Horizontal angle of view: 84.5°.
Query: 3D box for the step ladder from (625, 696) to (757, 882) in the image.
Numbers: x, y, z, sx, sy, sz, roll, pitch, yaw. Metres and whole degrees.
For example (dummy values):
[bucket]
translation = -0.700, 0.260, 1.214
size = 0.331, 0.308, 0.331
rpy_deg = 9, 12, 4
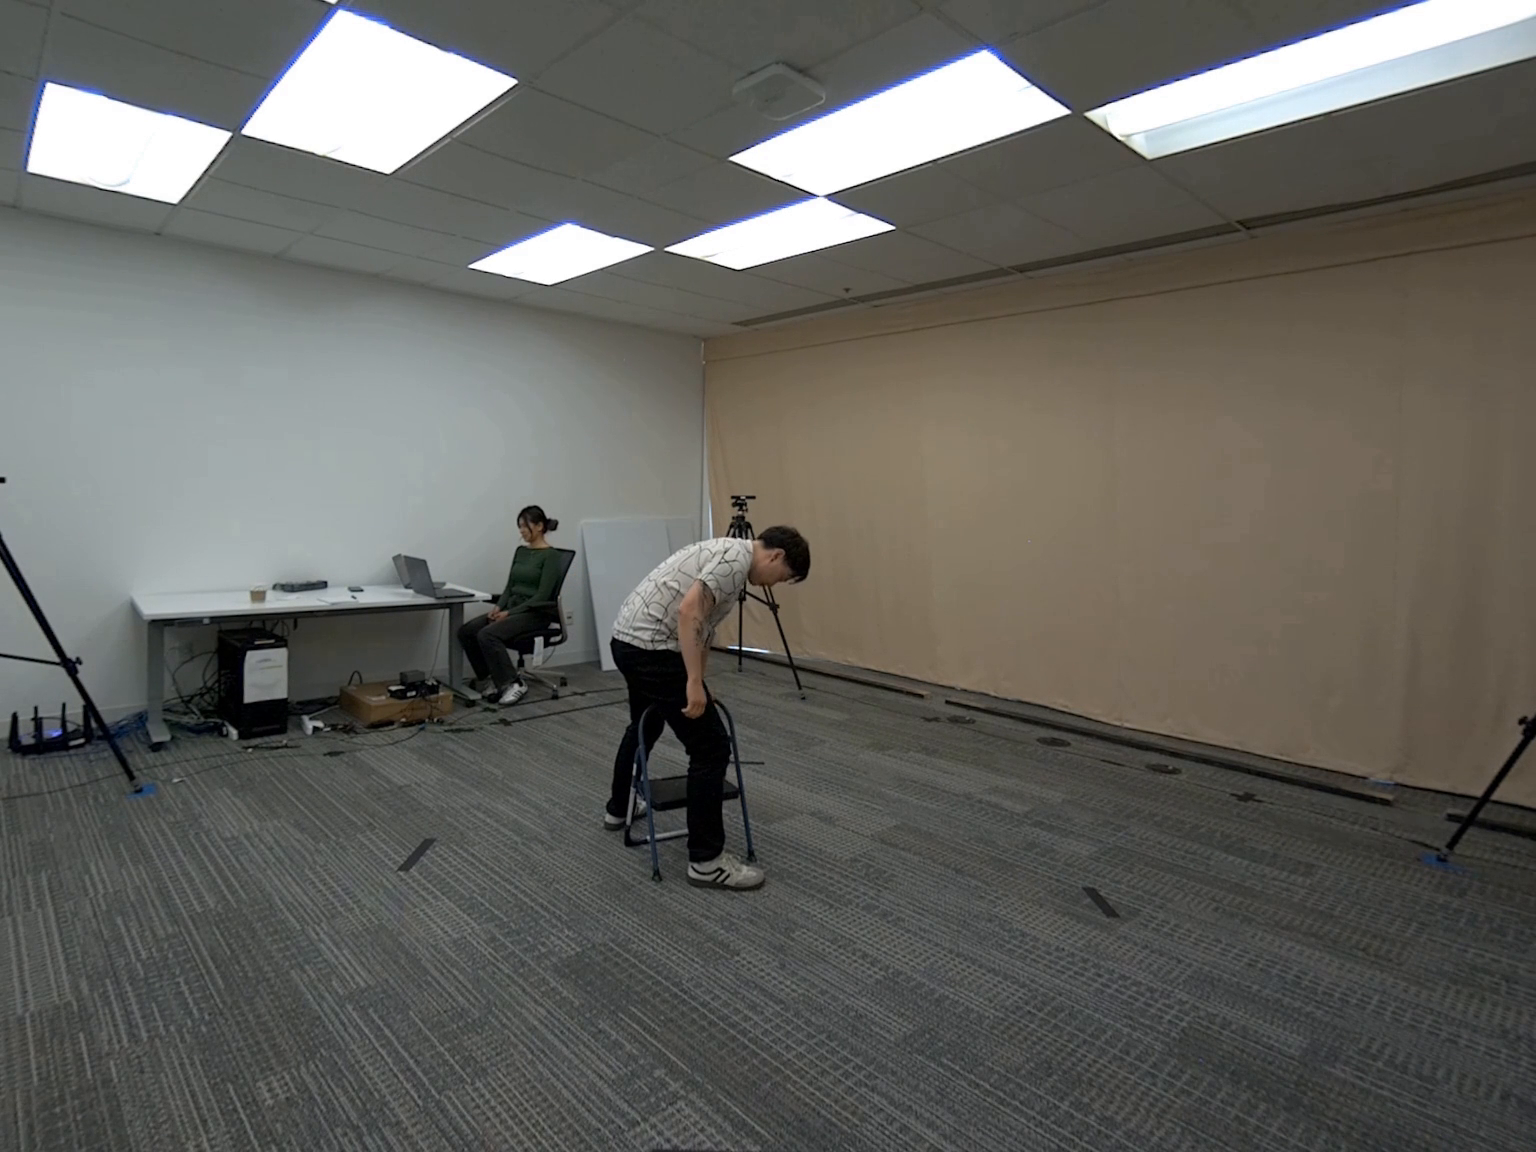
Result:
[step ladder]
translation = -0.309, 0.778, 3.272
size = 0.422, 0.604, 0.357
rpy_deg = -1, 5, -29
